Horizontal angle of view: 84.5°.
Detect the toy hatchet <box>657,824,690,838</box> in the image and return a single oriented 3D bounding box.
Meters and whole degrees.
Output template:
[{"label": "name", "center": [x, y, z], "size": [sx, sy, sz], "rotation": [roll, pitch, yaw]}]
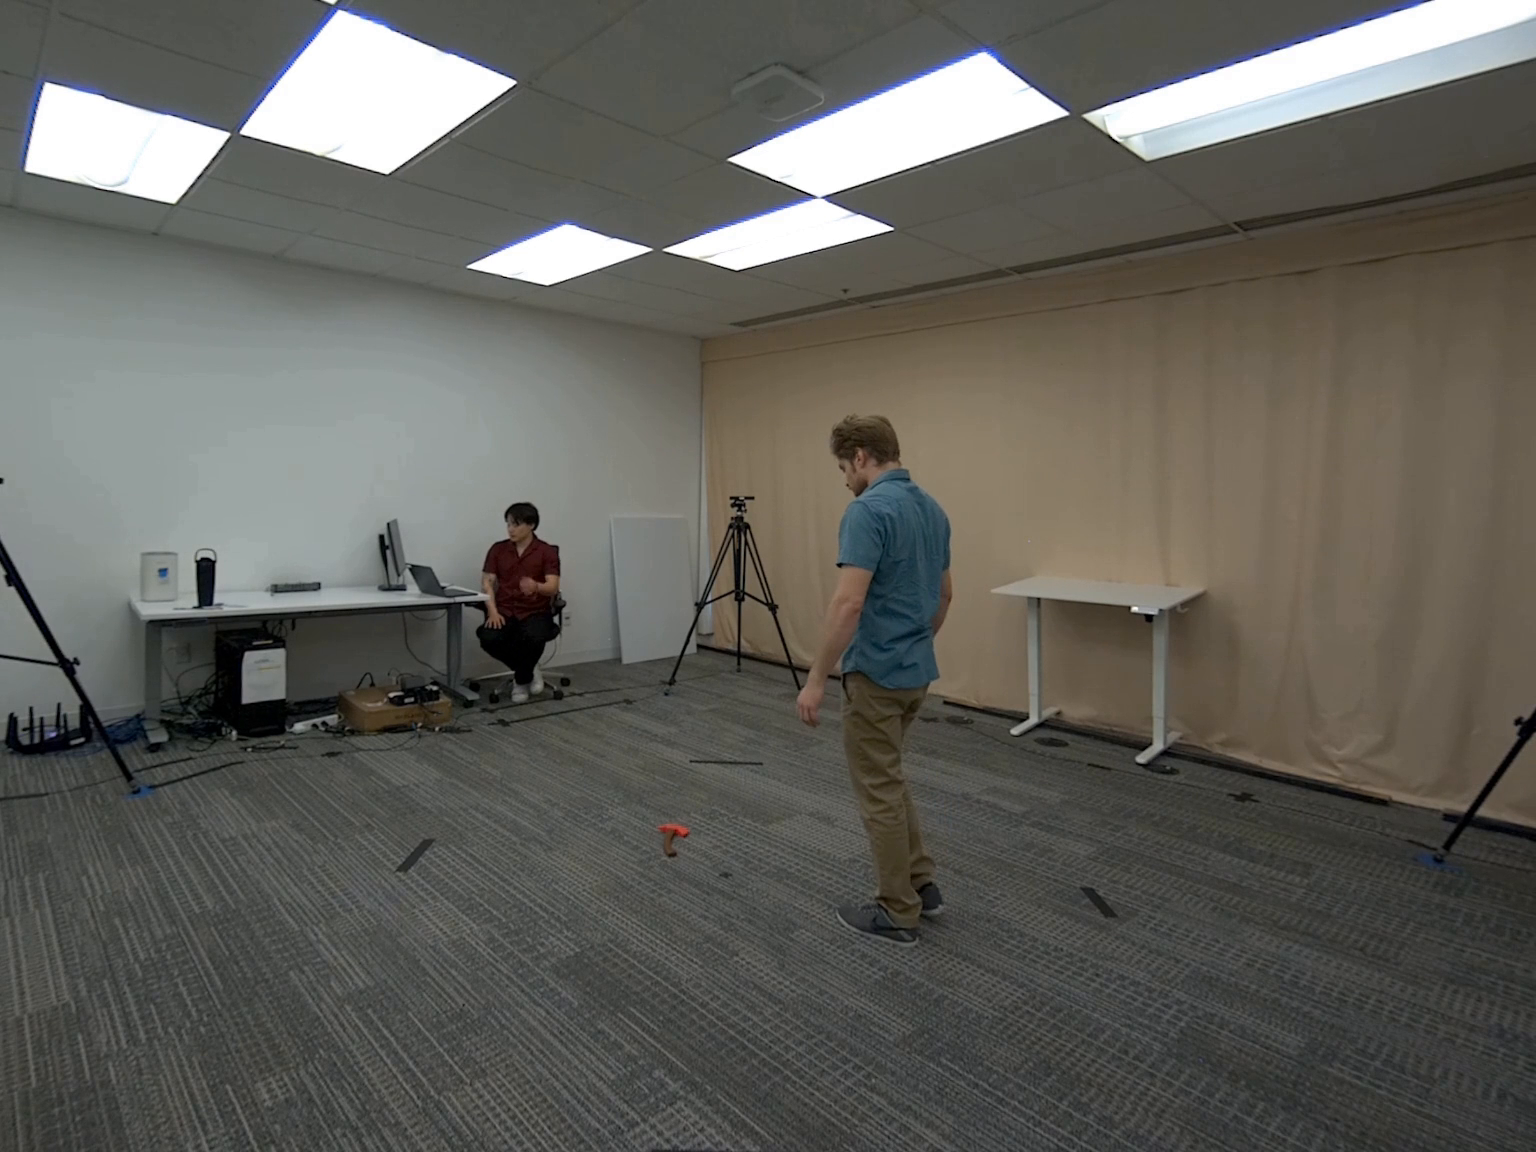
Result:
[{"label": "toy hatchet", "center": [-0.372, 1.066, 3.385], "size": [0.129, 0.029, 0.274], "rotation": [2, 7, -16]}]
